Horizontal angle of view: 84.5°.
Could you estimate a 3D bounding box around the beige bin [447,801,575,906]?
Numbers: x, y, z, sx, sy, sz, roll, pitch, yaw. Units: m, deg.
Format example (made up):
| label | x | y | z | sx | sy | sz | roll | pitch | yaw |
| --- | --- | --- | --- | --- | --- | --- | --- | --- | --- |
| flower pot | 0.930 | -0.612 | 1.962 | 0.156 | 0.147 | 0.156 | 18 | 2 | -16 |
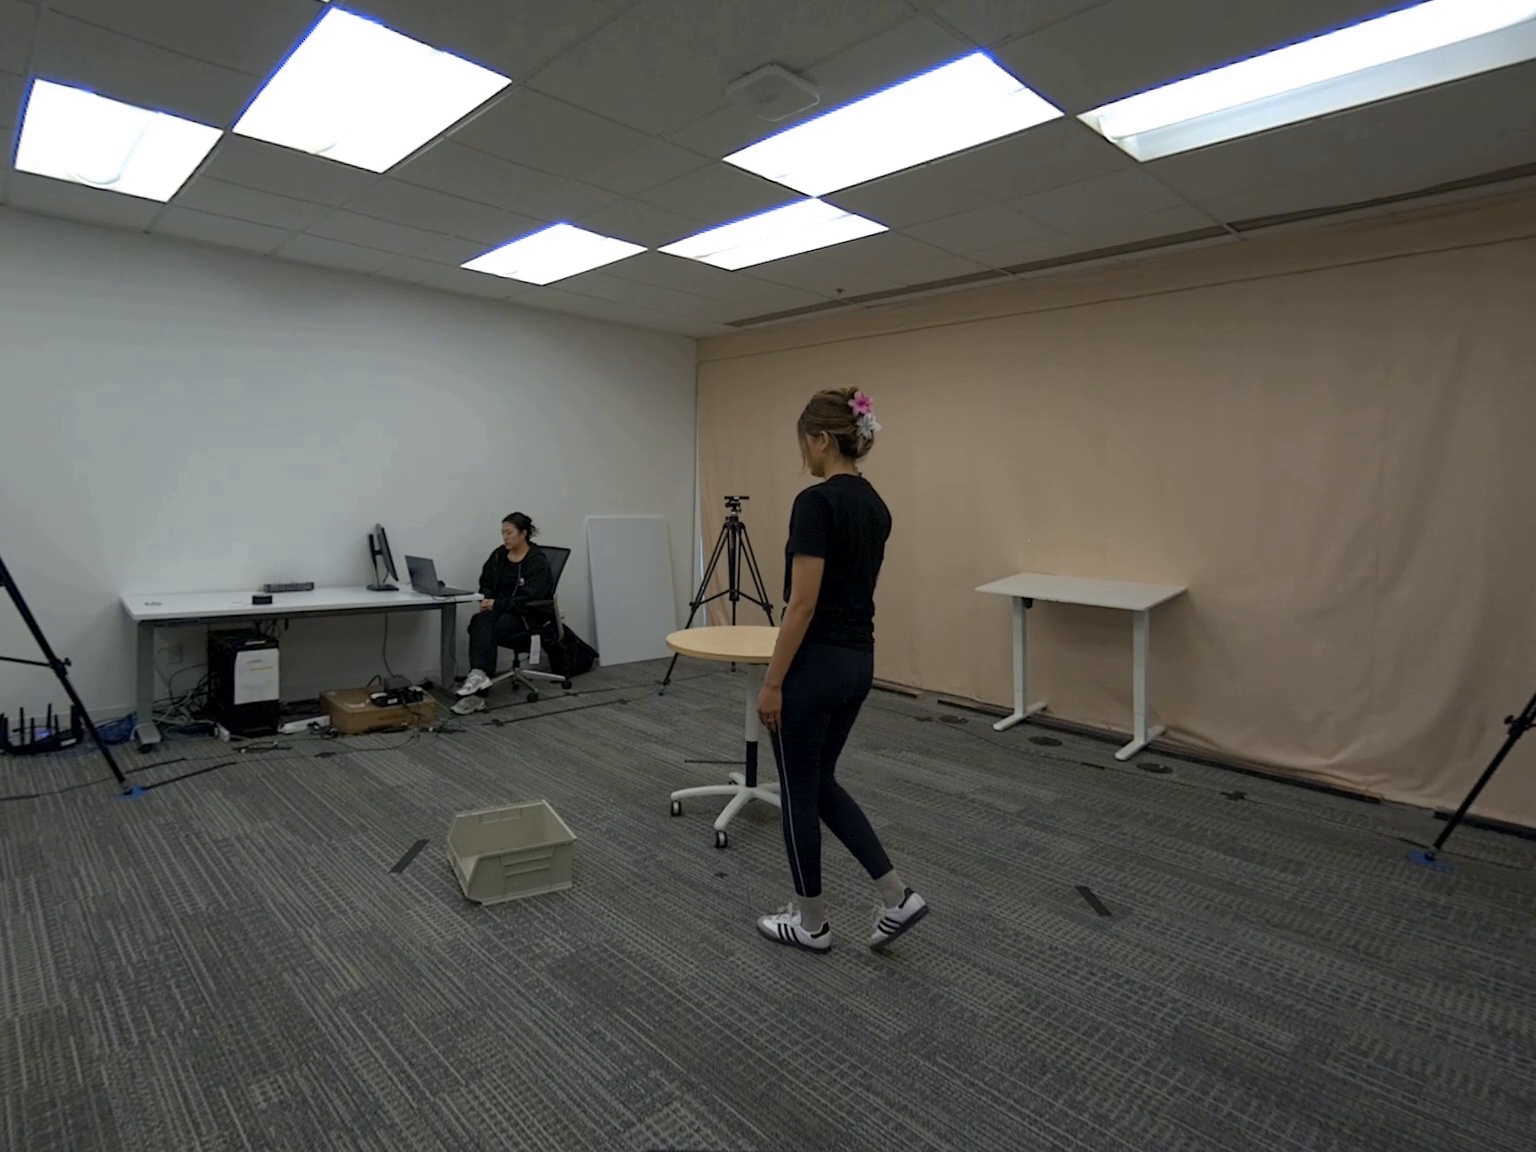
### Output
| label | x | y | z | sx | sy | sz | roll | pitch | yaw |
| --- | --- | --- | --- | --- | --- | --- | --- | --- | --- |
| beige bin | -0.949 | 1.001 | 3.067 | 0.370 | 0.188 | 0.432 | -1 | 5 | -30 |
